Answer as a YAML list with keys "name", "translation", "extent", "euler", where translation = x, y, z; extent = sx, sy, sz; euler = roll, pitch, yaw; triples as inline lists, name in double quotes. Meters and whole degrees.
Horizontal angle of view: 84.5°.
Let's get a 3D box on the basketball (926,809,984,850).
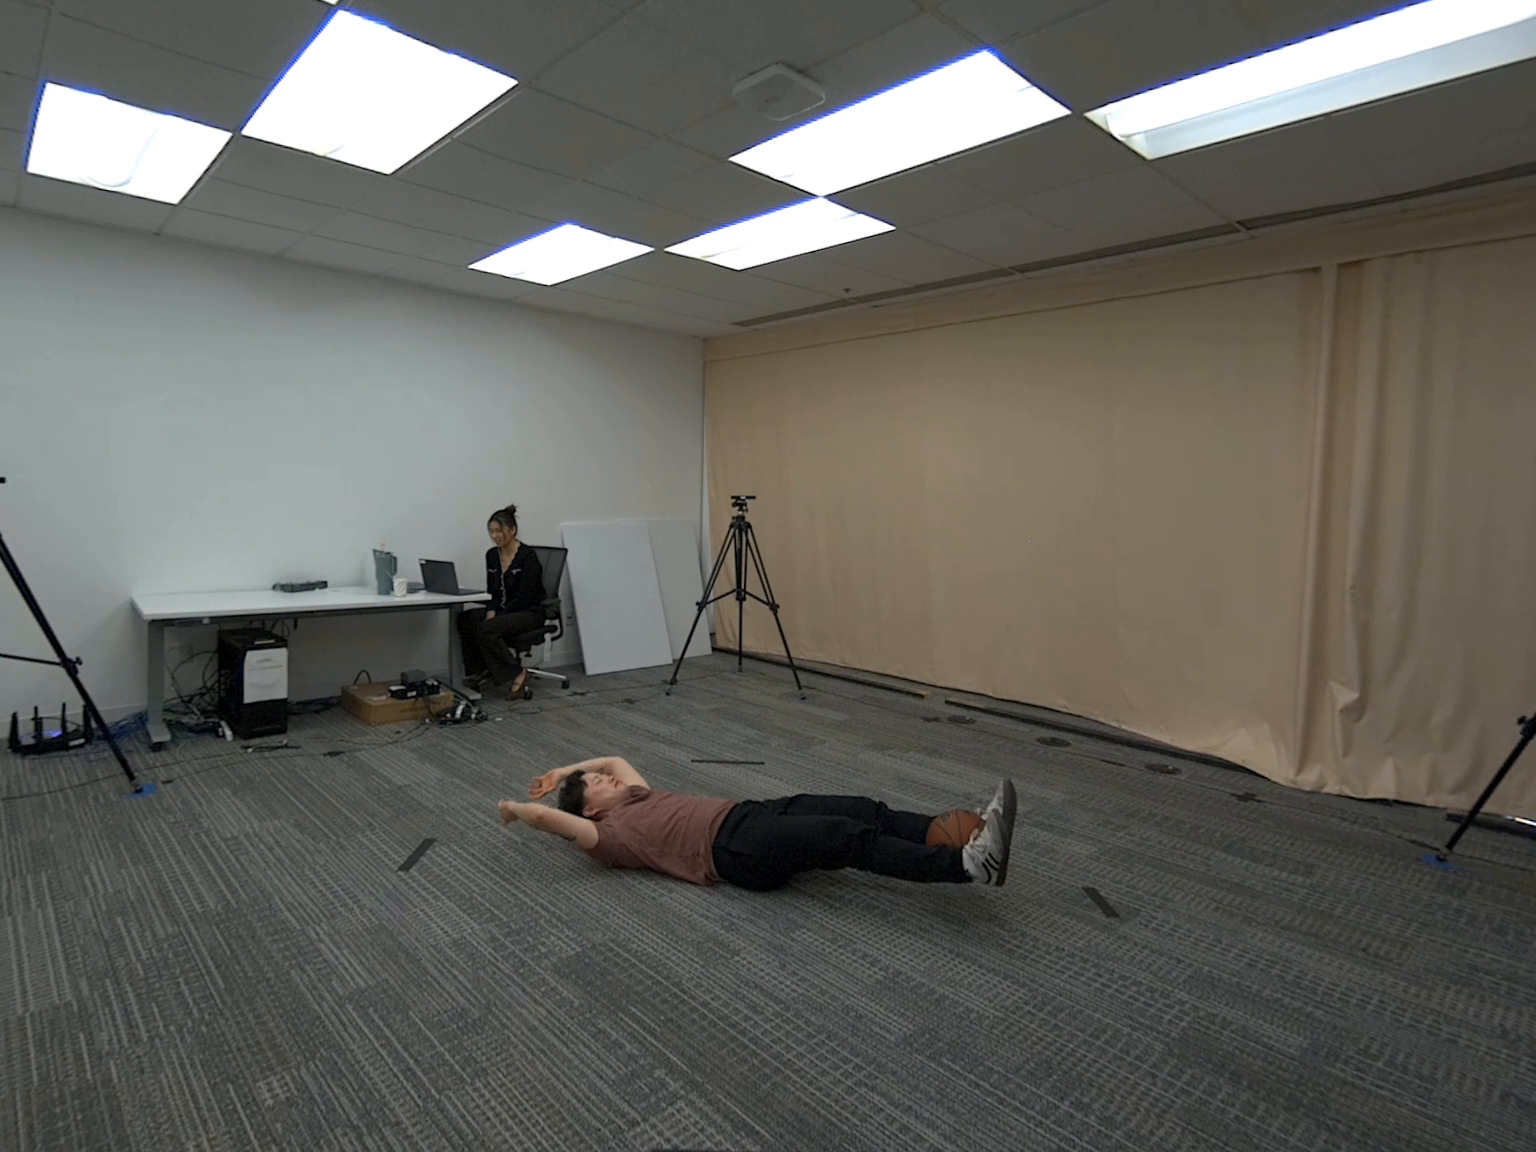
- name: "basketball"
  translation: [0.654, 0.914, 2.858]
  extent: [0.236, 0.234, 0.237]
  euler: [0, 8, -1]
